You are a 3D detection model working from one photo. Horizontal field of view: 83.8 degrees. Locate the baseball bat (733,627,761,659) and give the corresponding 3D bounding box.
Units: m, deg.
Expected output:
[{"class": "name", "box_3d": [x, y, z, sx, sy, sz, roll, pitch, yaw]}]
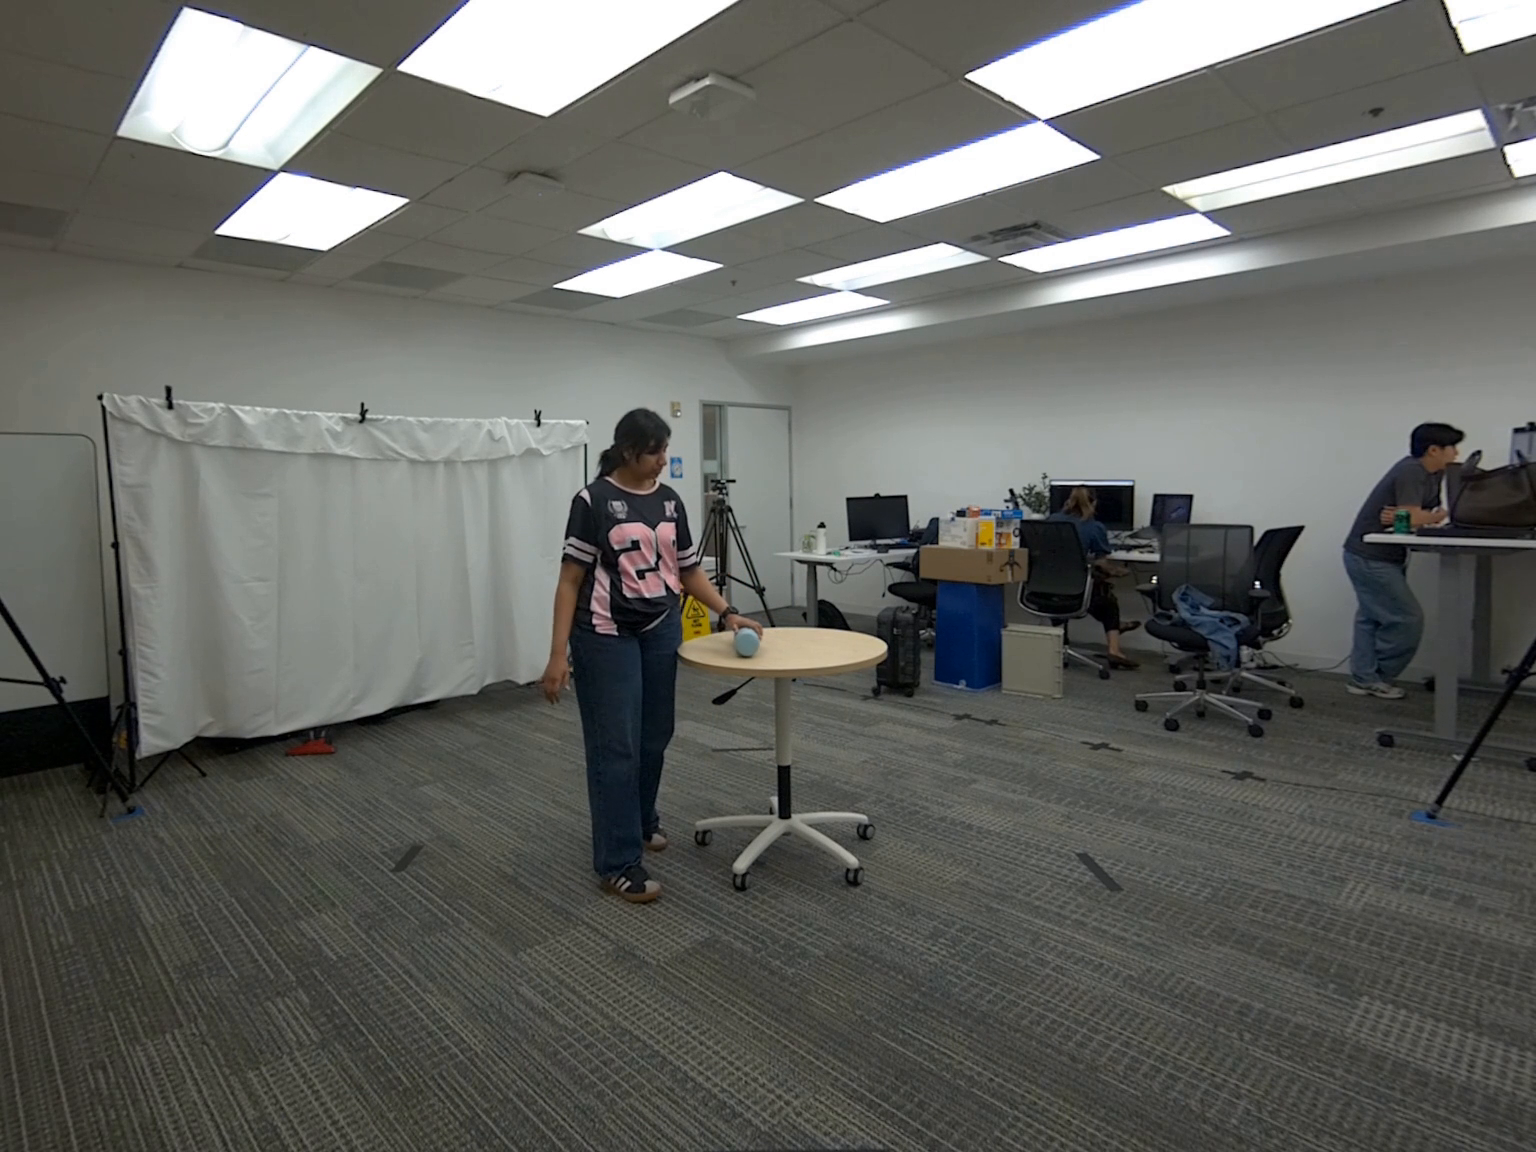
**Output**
[{"class": "baseball bat", "box_3d": [-0.095, 0.215, 3.199, 0.089, 0.089, 0.545, -1, 4, -2]}]
